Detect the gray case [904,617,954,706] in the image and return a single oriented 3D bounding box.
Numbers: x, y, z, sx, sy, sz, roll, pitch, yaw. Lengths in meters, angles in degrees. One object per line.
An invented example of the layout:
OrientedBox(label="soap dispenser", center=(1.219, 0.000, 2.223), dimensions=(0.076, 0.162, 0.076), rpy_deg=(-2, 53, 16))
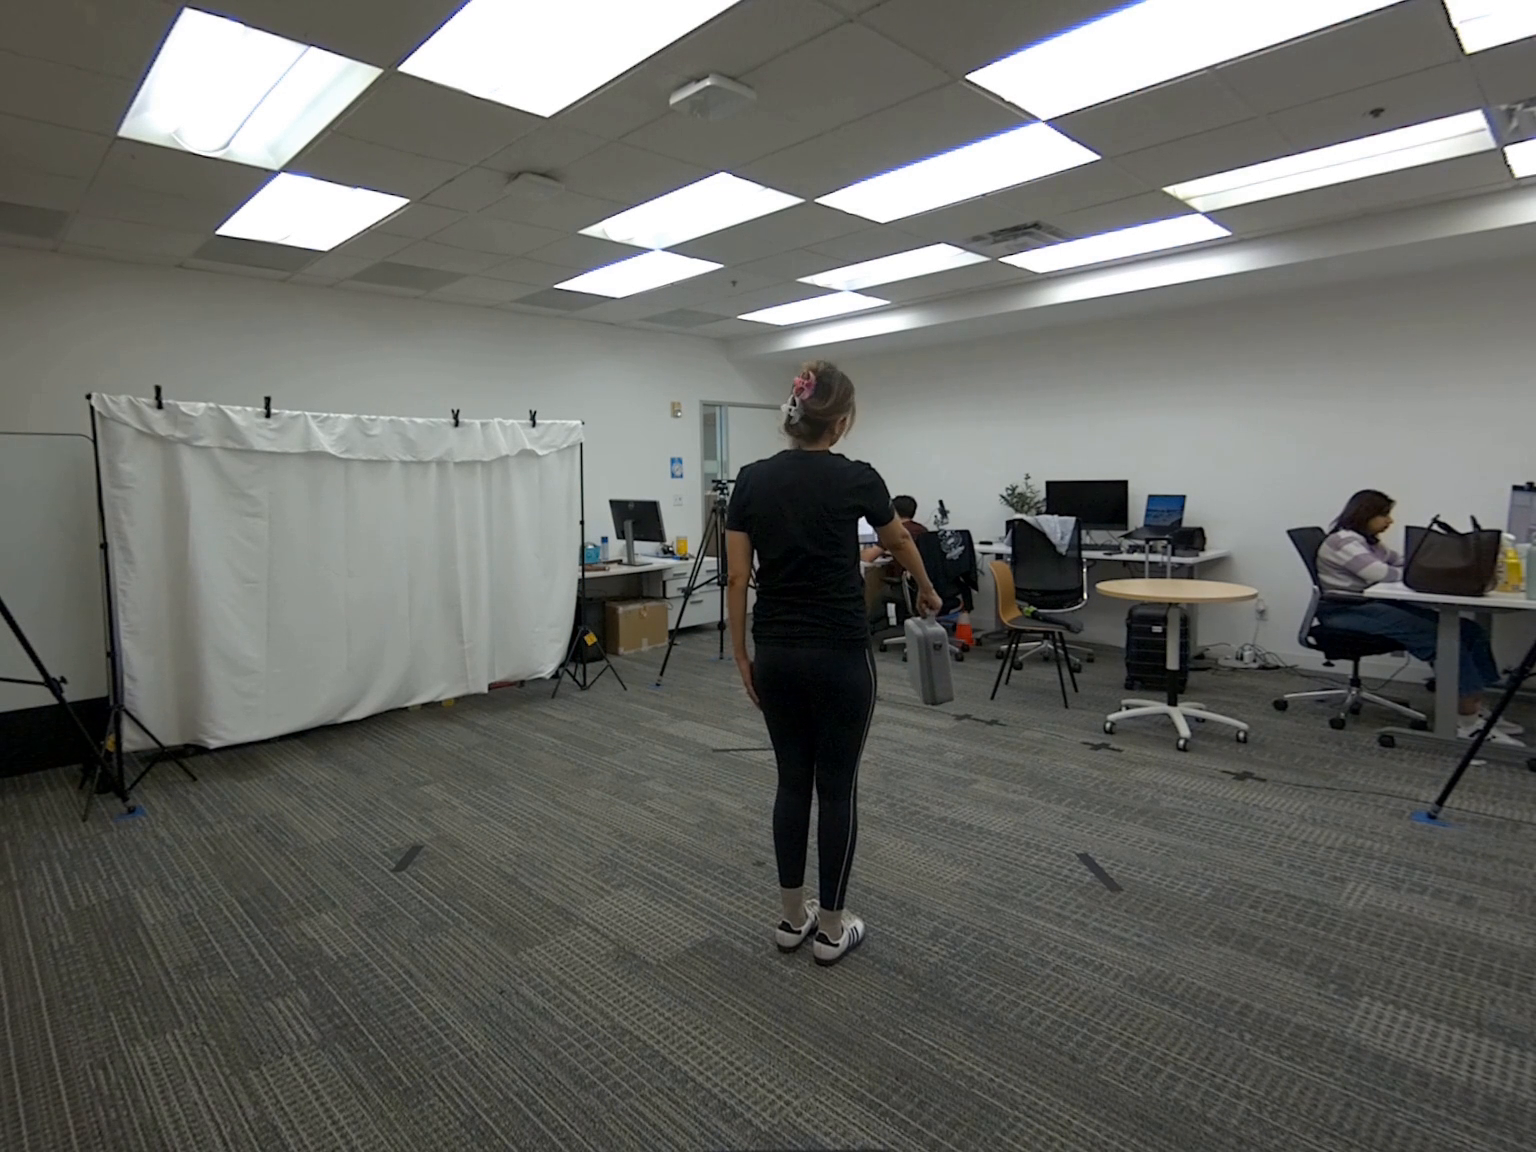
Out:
OrientedBox(label="gray case", center=(0.540, 0.278, 2.864), dimensions=(0.104, 0.259, 0.258), rpy_deg=(-6, 7, 1))
